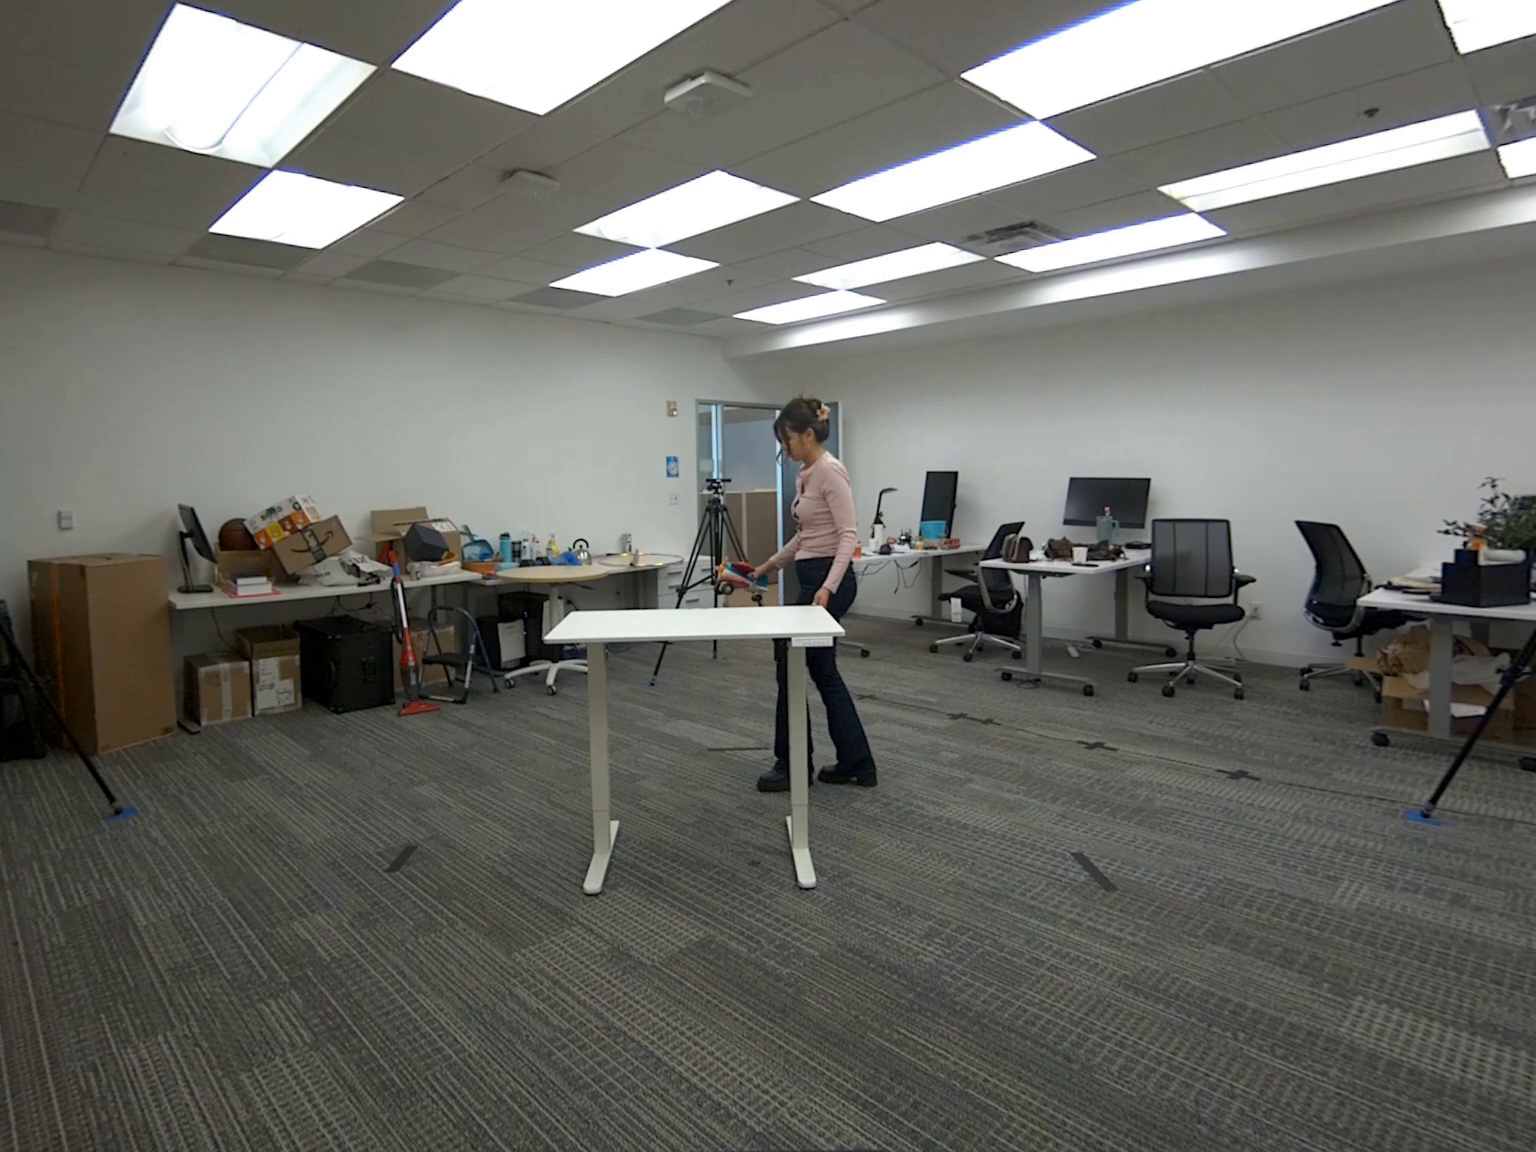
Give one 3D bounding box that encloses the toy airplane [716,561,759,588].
[{"bbox_3d":[-0.134,0.023,3.959,0.258,0.157,0.250,3,-9,37],"label":"toy airplane"}]
